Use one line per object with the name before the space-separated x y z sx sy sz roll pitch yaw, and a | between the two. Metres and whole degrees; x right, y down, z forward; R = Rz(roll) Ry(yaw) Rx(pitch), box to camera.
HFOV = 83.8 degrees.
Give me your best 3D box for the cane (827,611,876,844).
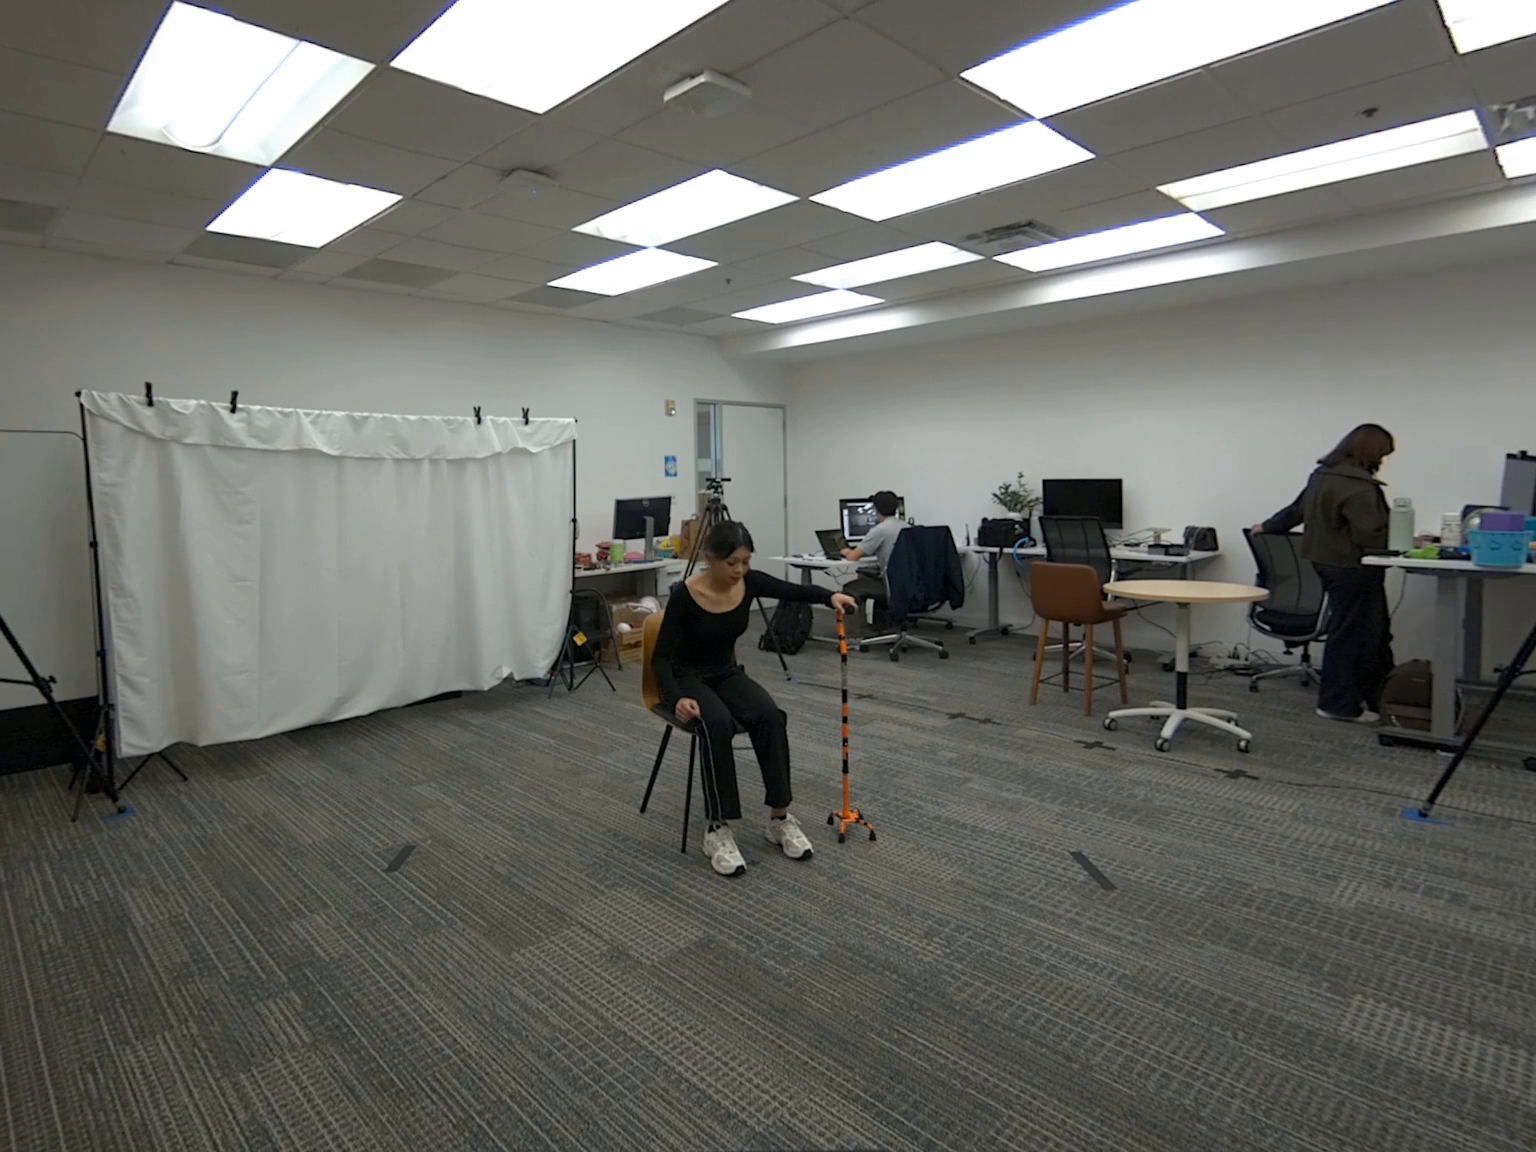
cane | 0.316 0.555 3.332 0.150 0.904 0.209 -1 5 -9
